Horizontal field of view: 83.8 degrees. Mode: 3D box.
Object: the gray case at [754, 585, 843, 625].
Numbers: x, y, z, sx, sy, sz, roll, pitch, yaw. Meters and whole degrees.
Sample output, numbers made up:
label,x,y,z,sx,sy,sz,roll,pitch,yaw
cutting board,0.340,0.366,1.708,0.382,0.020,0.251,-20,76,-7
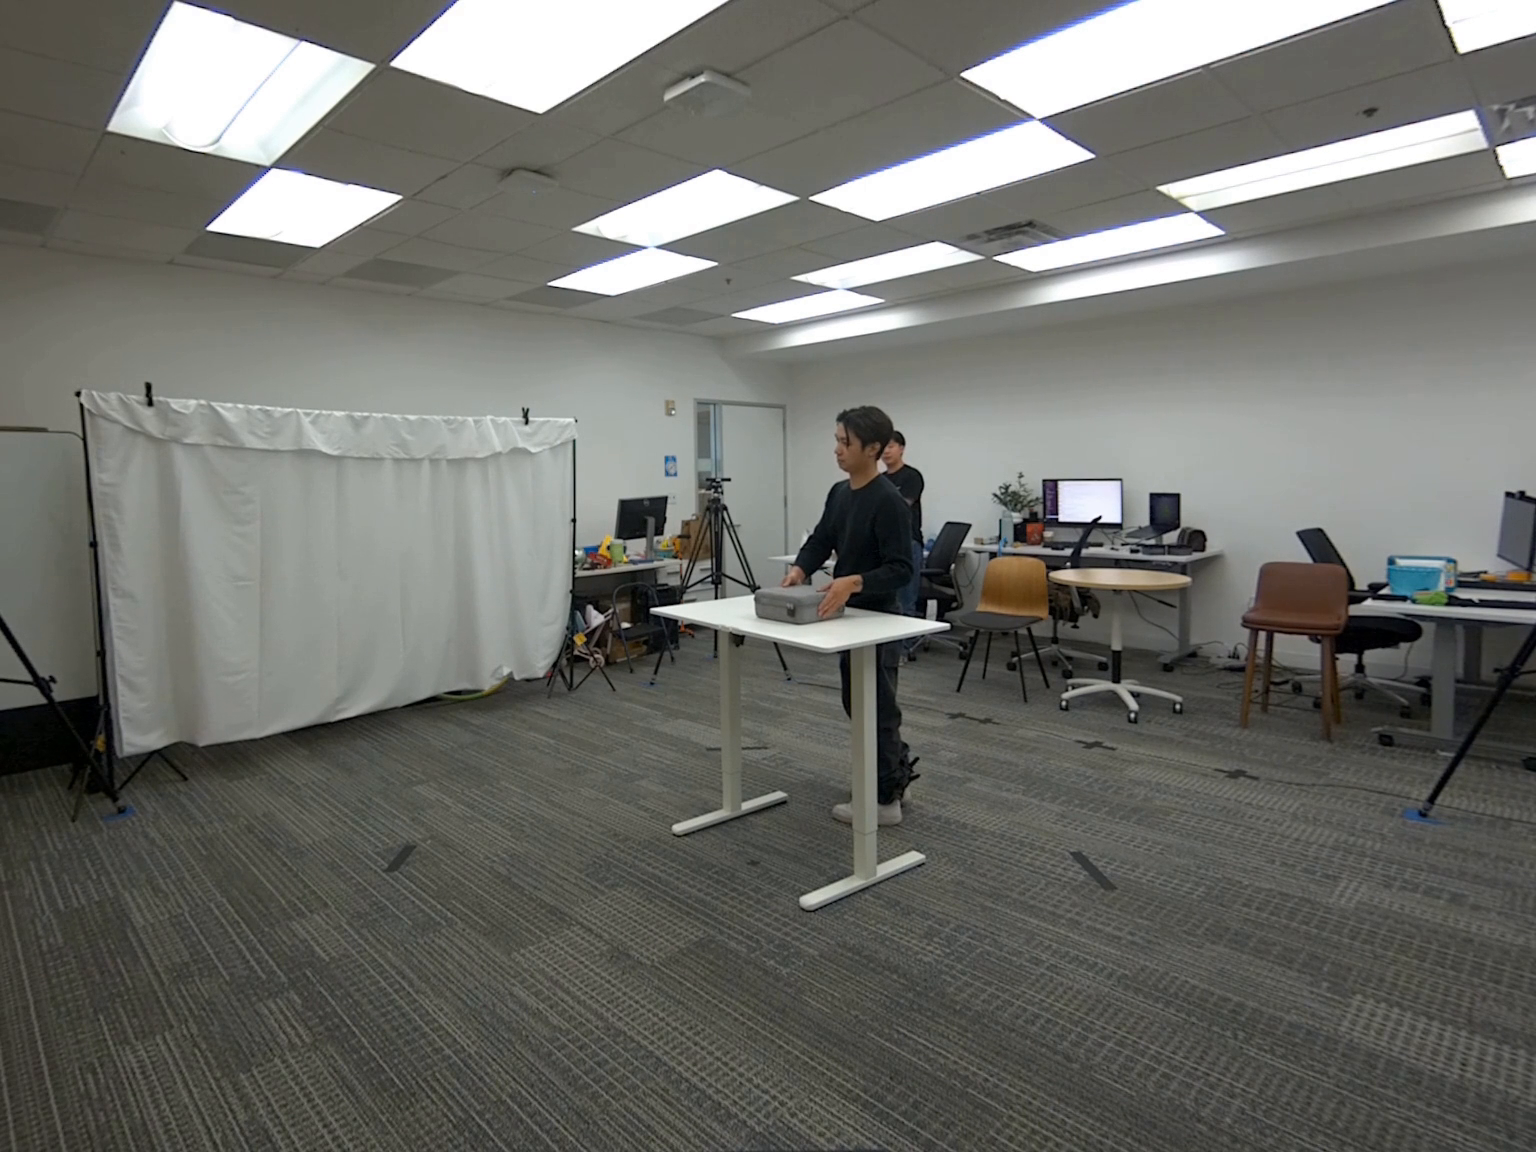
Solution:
label,x,y,z,sx,sy,sz,roll,pitch,yaw
gray case,0.120,0.103,3.127,0.254,0.104,0.265,-8,9,-41
